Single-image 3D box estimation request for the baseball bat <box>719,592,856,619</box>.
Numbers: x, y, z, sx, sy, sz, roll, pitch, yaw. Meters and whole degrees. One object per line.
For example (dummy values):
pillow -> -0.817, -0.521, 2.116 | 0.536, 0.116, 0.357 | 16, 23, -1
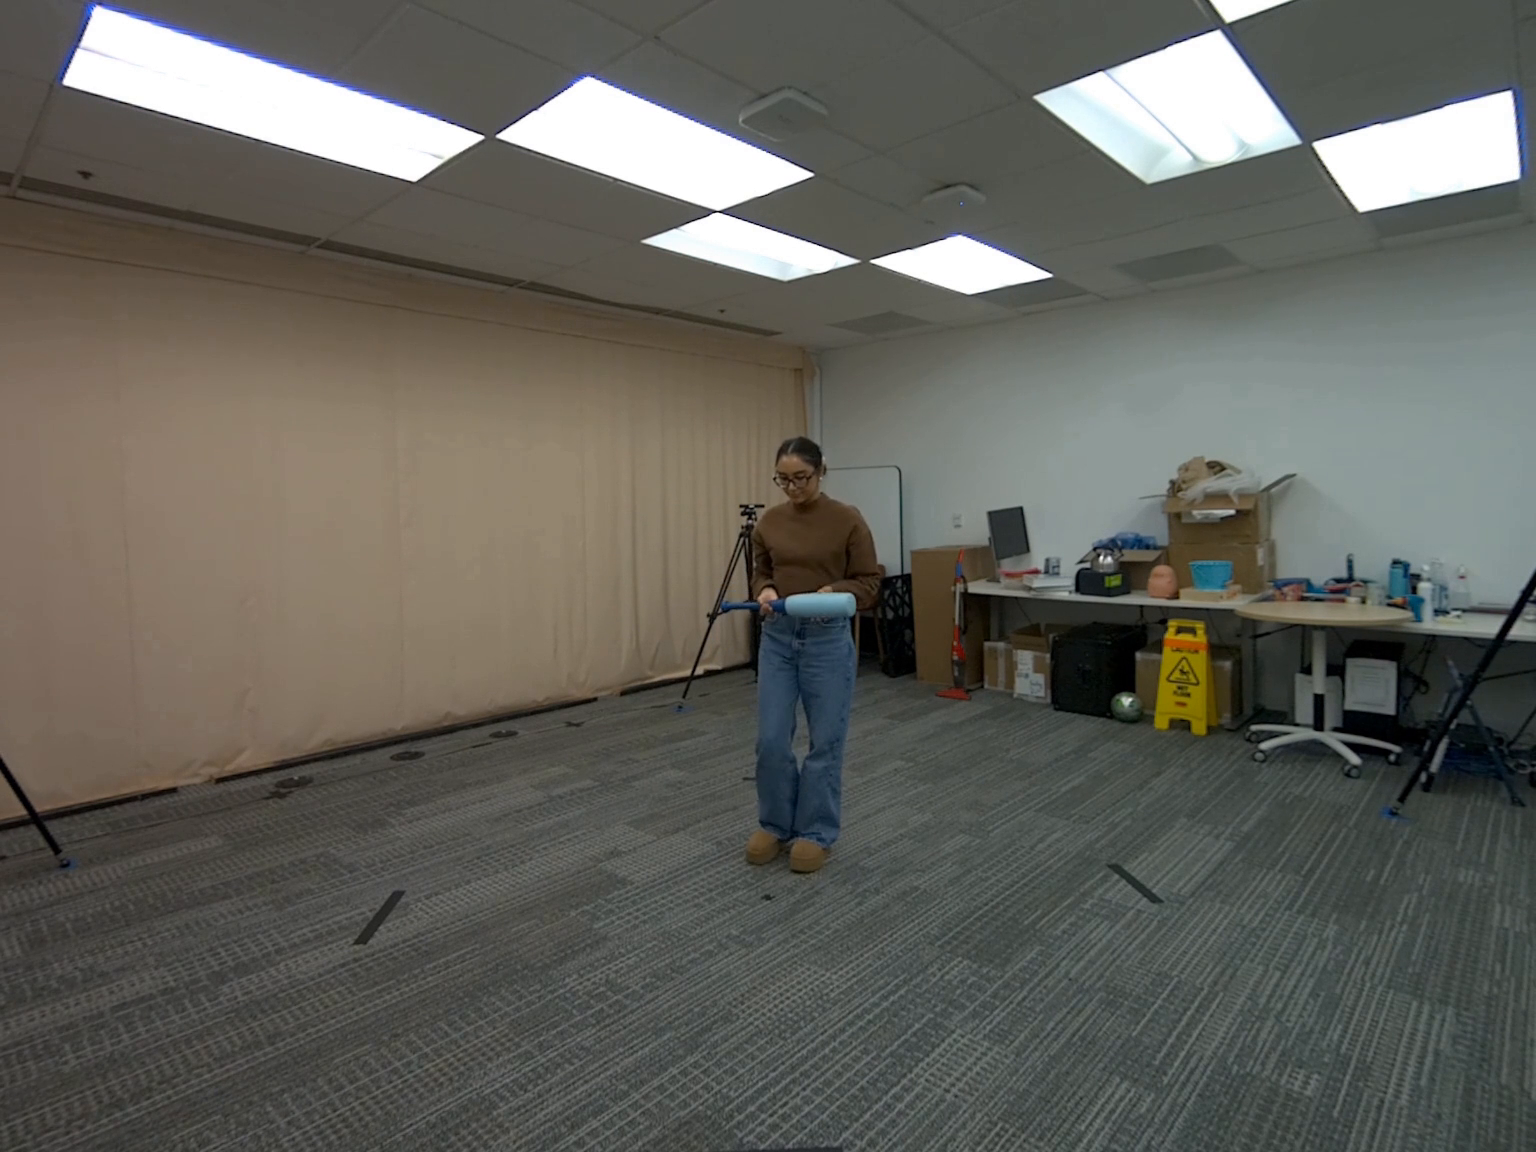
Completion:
baseball bat -> 0.056, 0.111, 3.066 | 0.558, 0.089, 0.086 | -2, 3, 32
